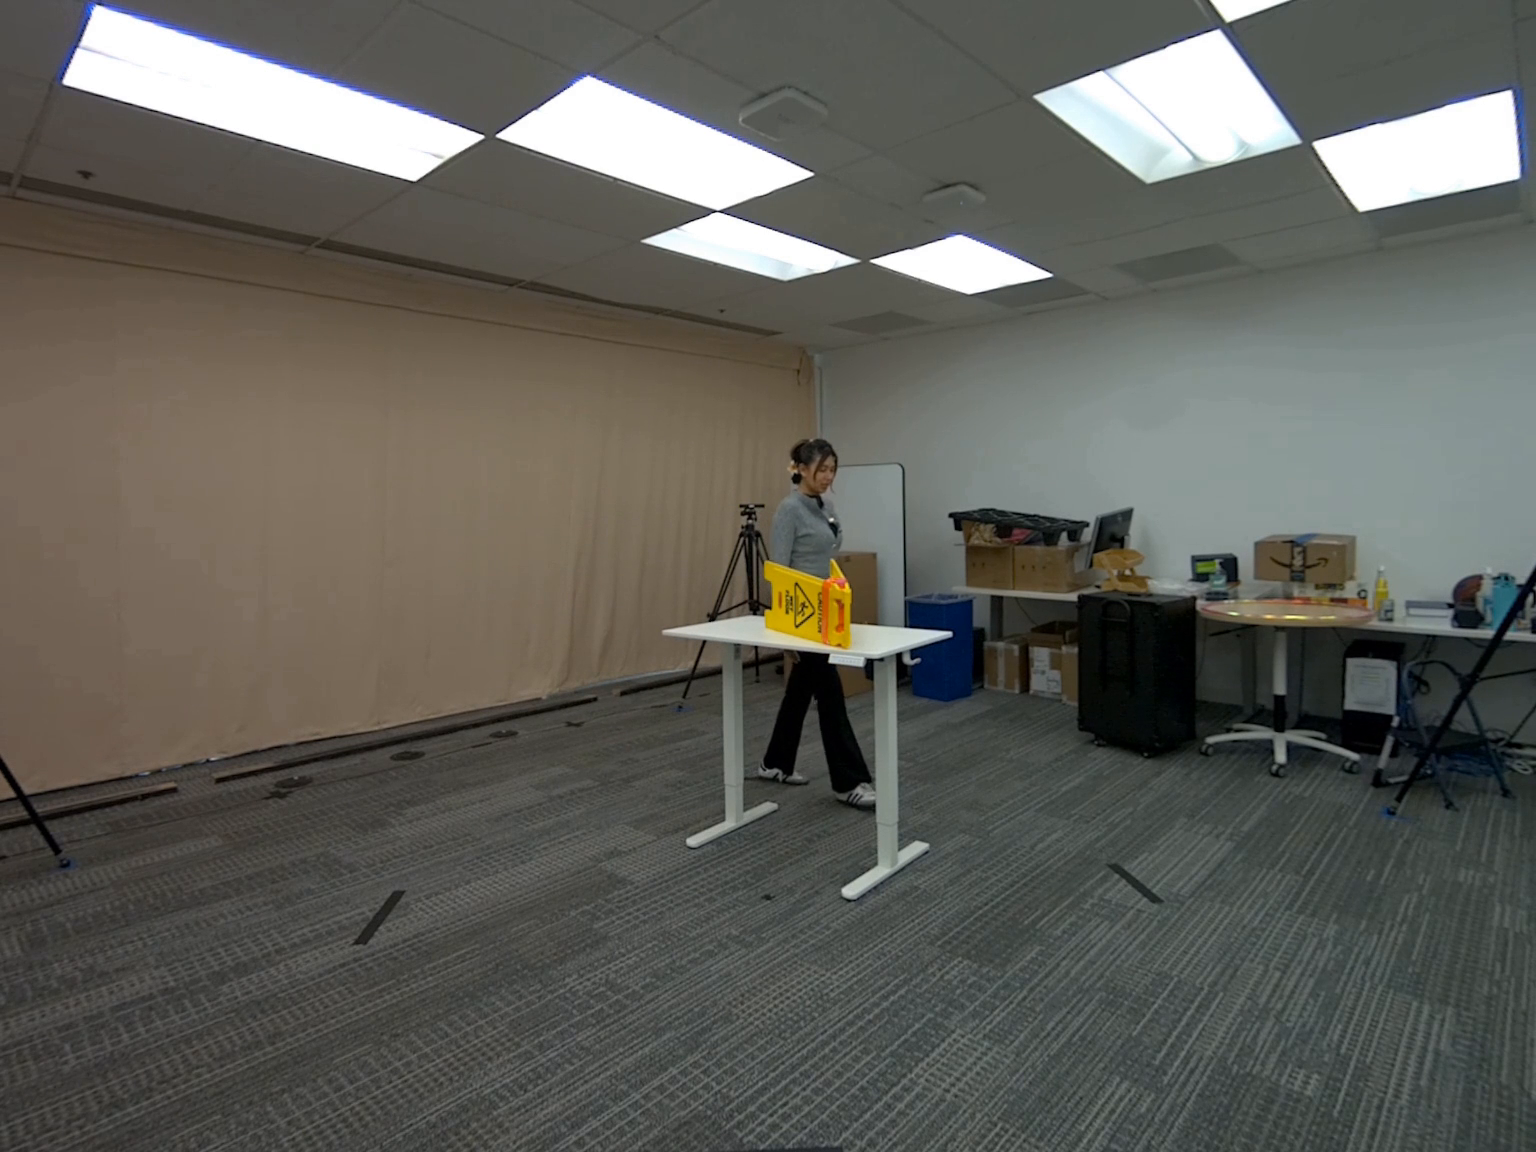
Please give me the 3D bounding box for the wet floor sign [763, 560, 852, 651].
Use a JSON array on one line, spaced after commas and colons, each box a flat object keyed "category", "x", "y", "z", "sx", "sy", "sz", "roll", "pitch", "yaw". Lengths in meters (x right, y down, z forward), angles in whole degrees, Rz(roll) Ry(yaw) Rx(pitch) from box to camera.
[{"category": "wet floor sign", "x": 0.209, "y": 0.112, "z": 3.214, "sx": 0.286, "sy": 0.281, "sz": 0.656, "roll": -2, "pitch": 7, "yaw": -13}]
